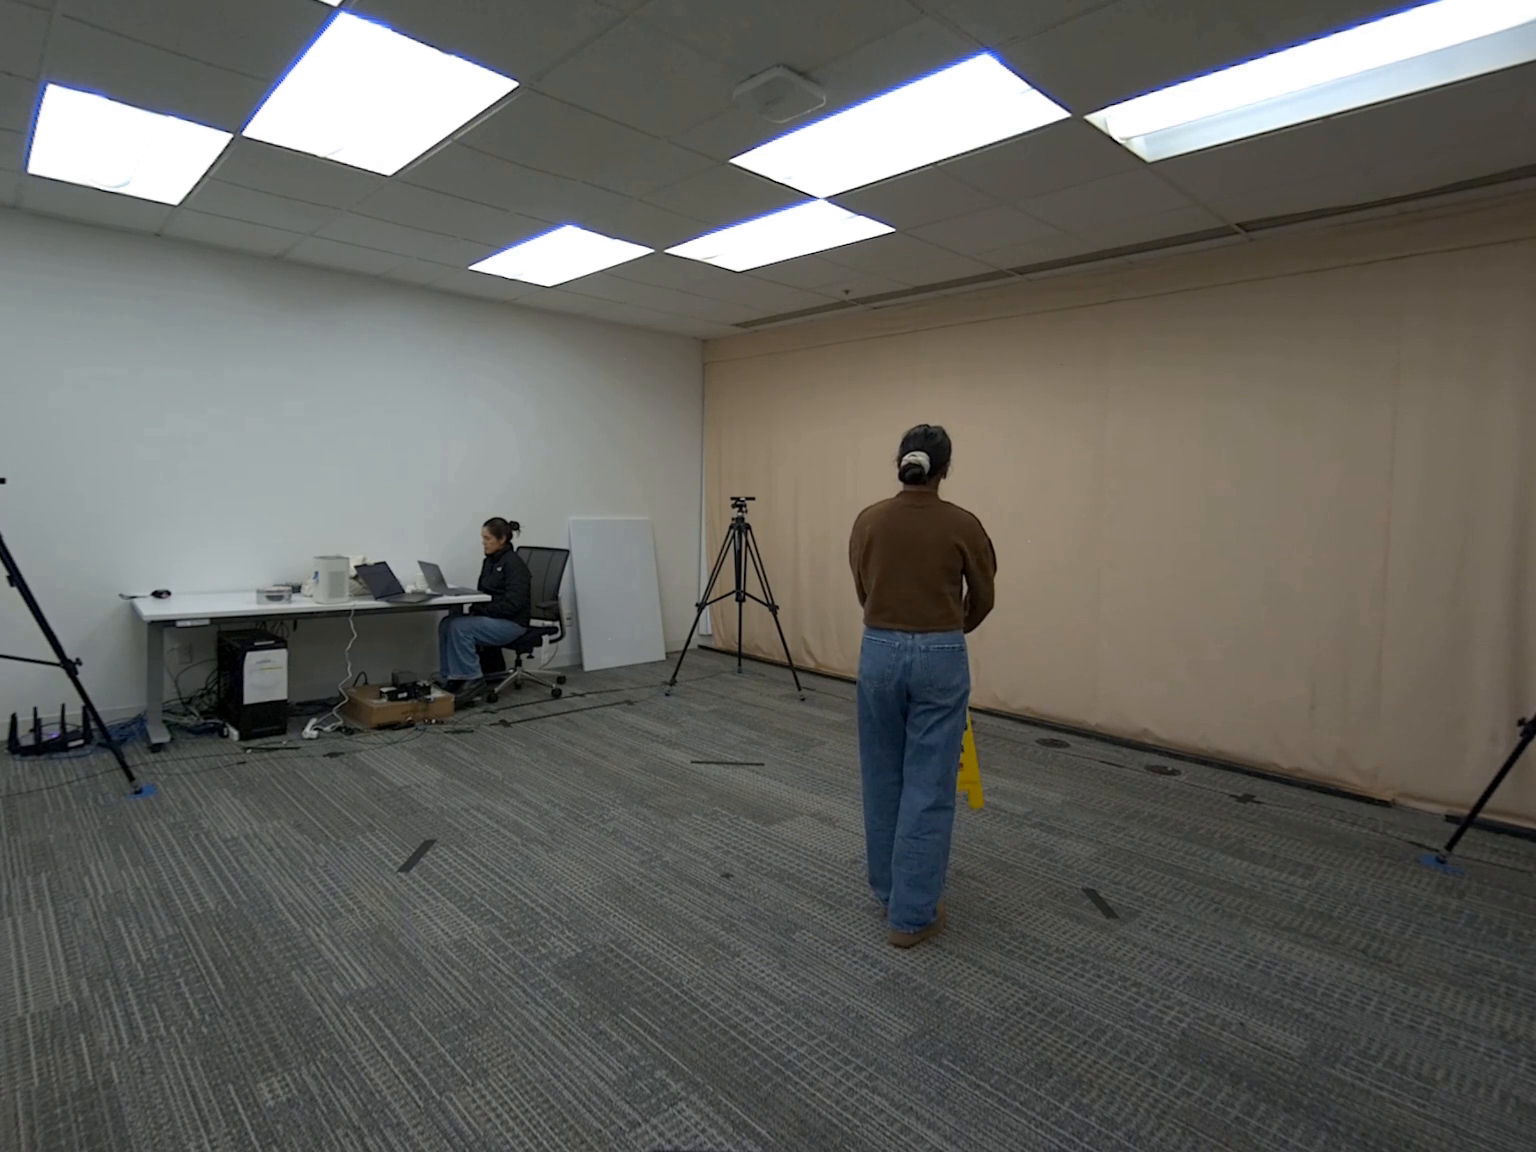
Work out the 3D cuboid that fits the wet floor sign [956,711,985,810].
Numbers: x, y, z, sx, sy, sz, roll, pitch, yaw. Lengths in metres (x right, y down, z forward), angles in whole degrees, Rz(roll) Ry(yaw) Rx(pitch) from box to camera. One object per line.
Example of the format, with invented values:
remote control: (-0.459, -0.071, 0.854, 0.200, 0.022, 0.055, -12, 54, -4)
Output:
wet floor sign: (0.614, 0.524, 3.131, 0.275, 0.646, 0.297, 2, -1, -43)
